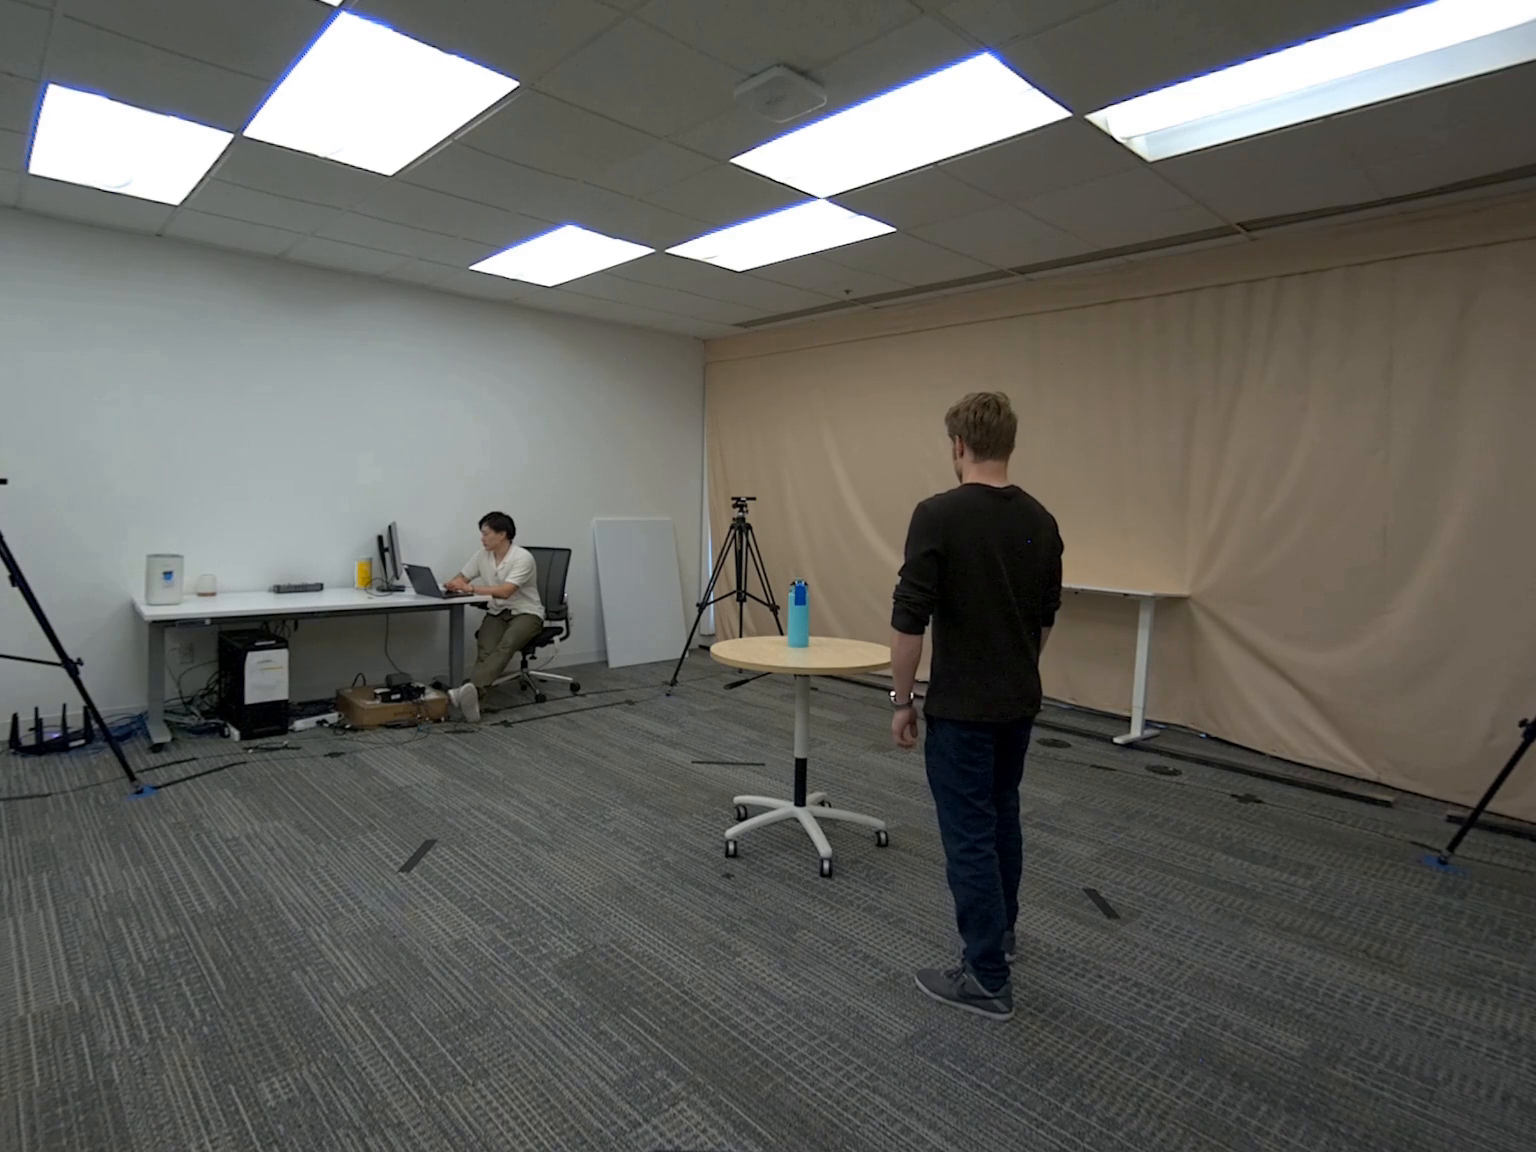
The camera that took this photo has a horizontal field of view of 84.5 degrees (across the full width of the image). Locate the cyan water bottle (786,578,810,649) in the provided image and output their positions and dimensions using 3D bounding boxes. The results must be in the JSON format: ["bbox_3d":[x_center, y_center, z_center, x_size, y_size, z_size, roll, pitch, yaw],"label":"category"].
[{"bbox_3d":[0.124,0.154,3.542,0.092,0.283,0.092,2,3,-2],"label":"cyan water bottle"}]
